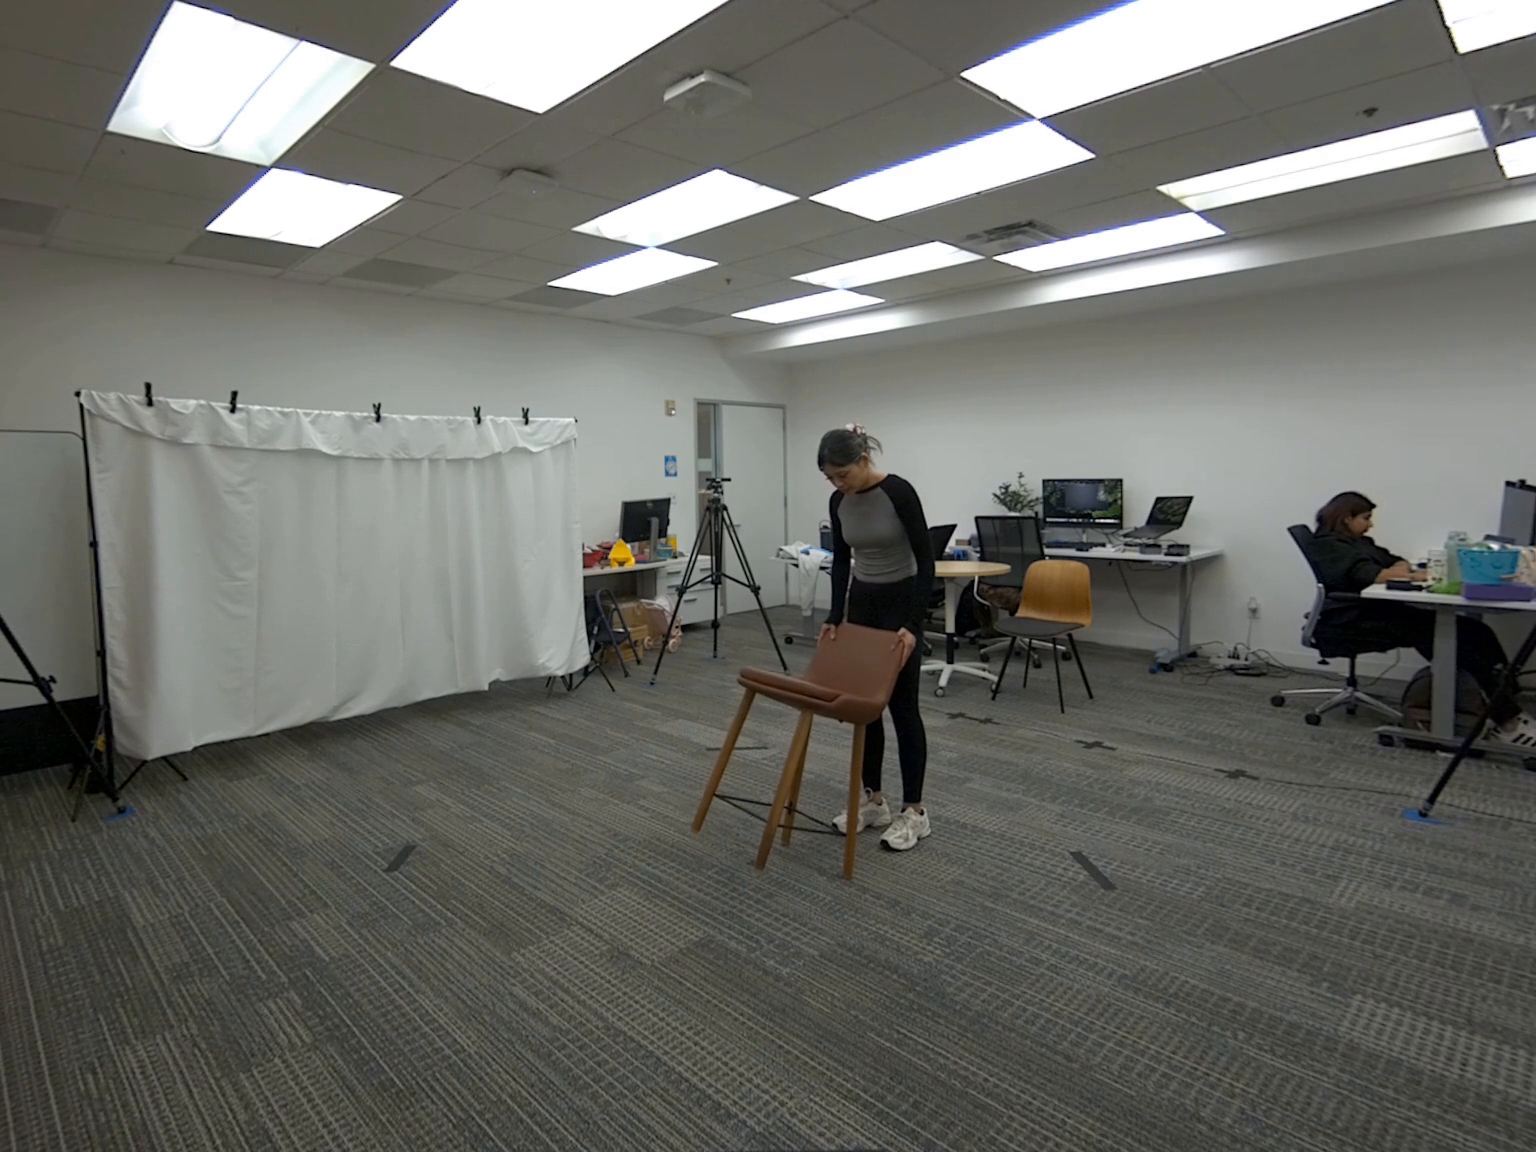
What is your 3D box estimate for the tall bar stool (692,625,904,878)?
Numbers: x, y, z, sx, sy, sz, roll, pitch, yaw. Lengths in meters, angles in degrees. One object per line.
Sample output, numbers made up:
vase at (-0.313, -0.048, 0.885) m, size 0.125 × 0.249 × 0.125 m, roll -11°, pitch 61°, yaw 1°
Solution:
tall bar stool at (0.132, 0.563, 3.065) m, size 0.452 × 0.894 × 0.470 m, roll 22°, pitch -10°, yaw -34°
